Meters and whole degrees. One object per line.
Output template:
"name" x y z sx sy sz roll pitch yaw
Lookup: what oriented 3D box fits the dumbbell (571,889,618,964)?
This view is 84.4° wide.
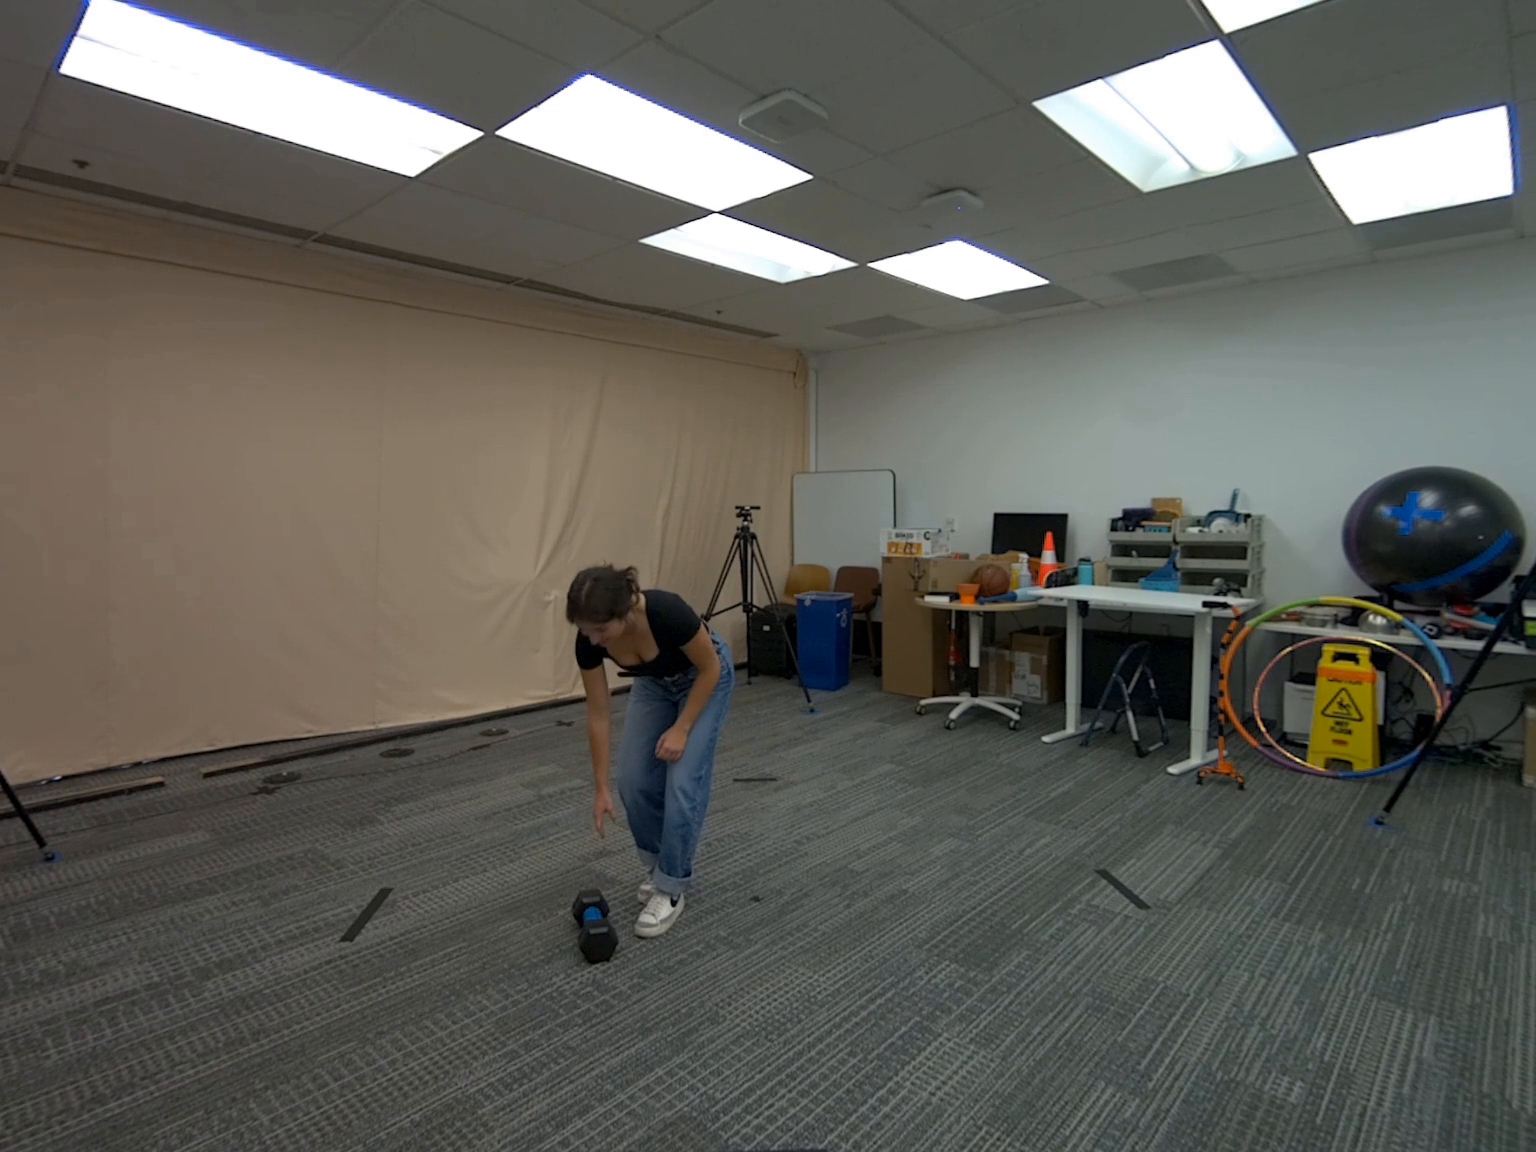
"dumbbell" -0.559 1.119 2.696 0.108 0.121 0.299 -32 12 -11
